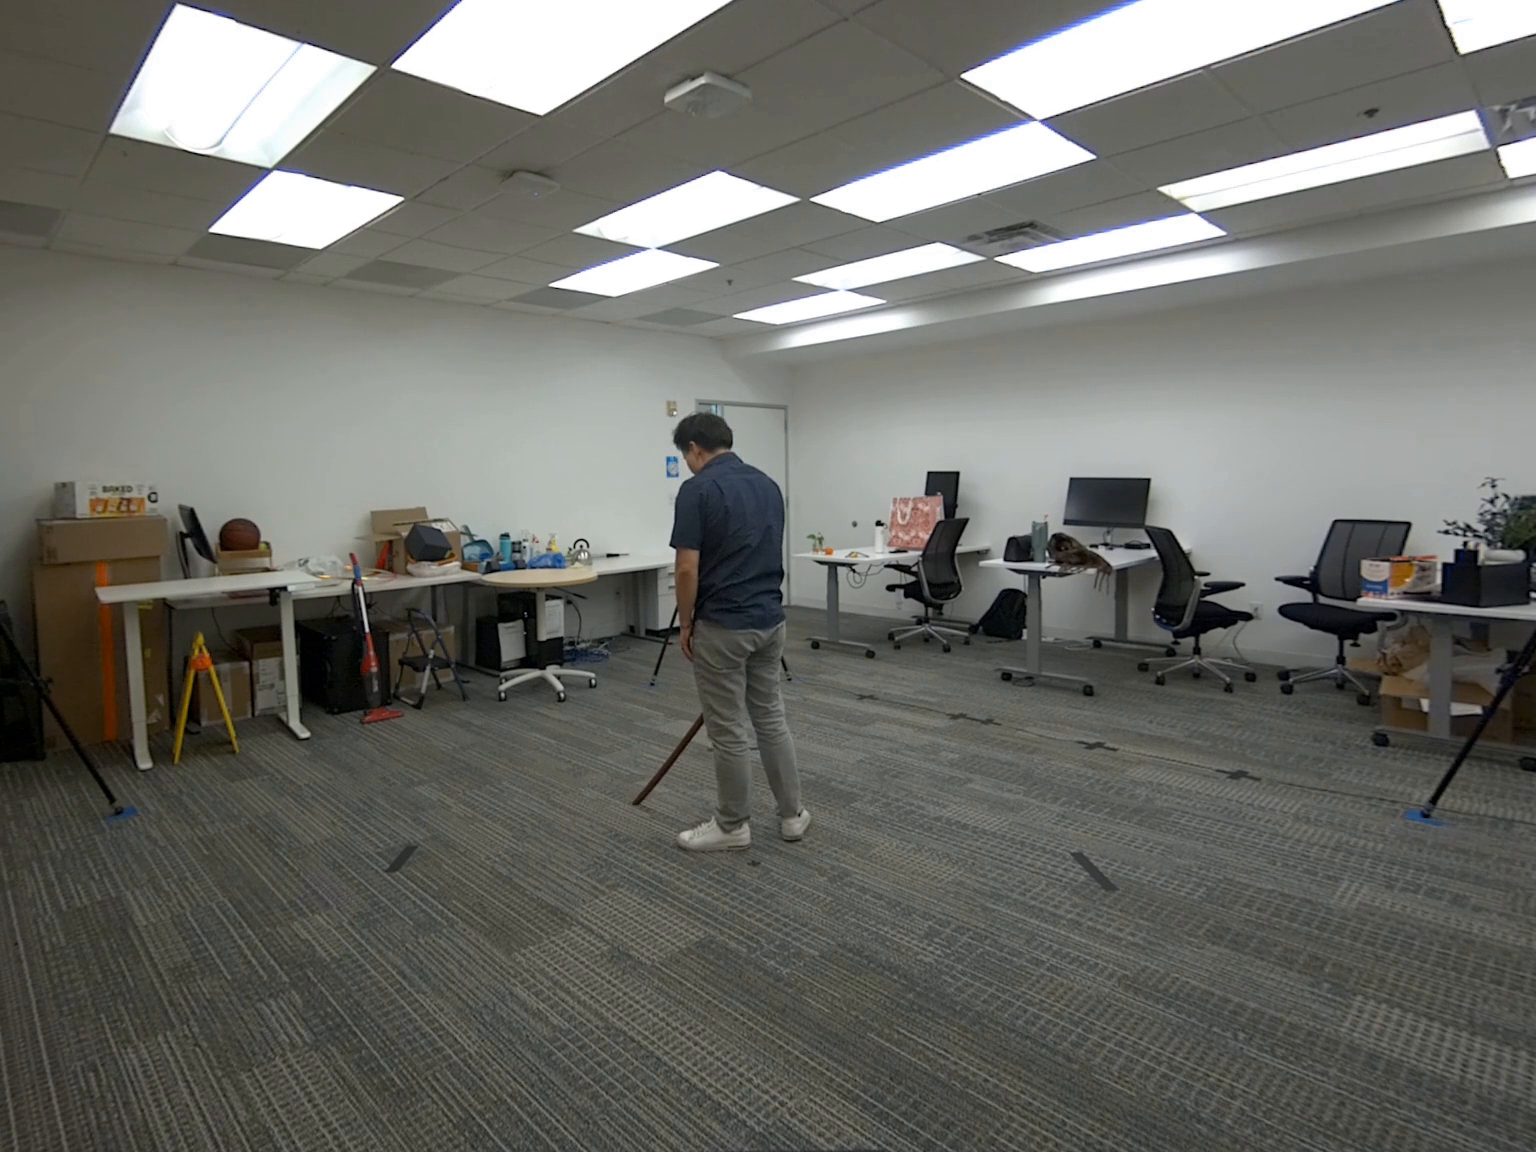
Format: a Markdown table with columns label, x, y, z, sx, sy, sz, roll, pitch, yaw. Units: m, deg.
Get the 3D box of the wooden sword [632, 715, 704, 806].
| label | x | y | z | sx | sy | sz | roll | pitch | yaw |
| --- | --- | --- | --- | --- | --- | --- | --- | --- | --- |
| wooden sword | -0.278 | 0.591 | 3.627 | 0.025 | 1.023 | 0.049 | 44 | 10 | 37 |
